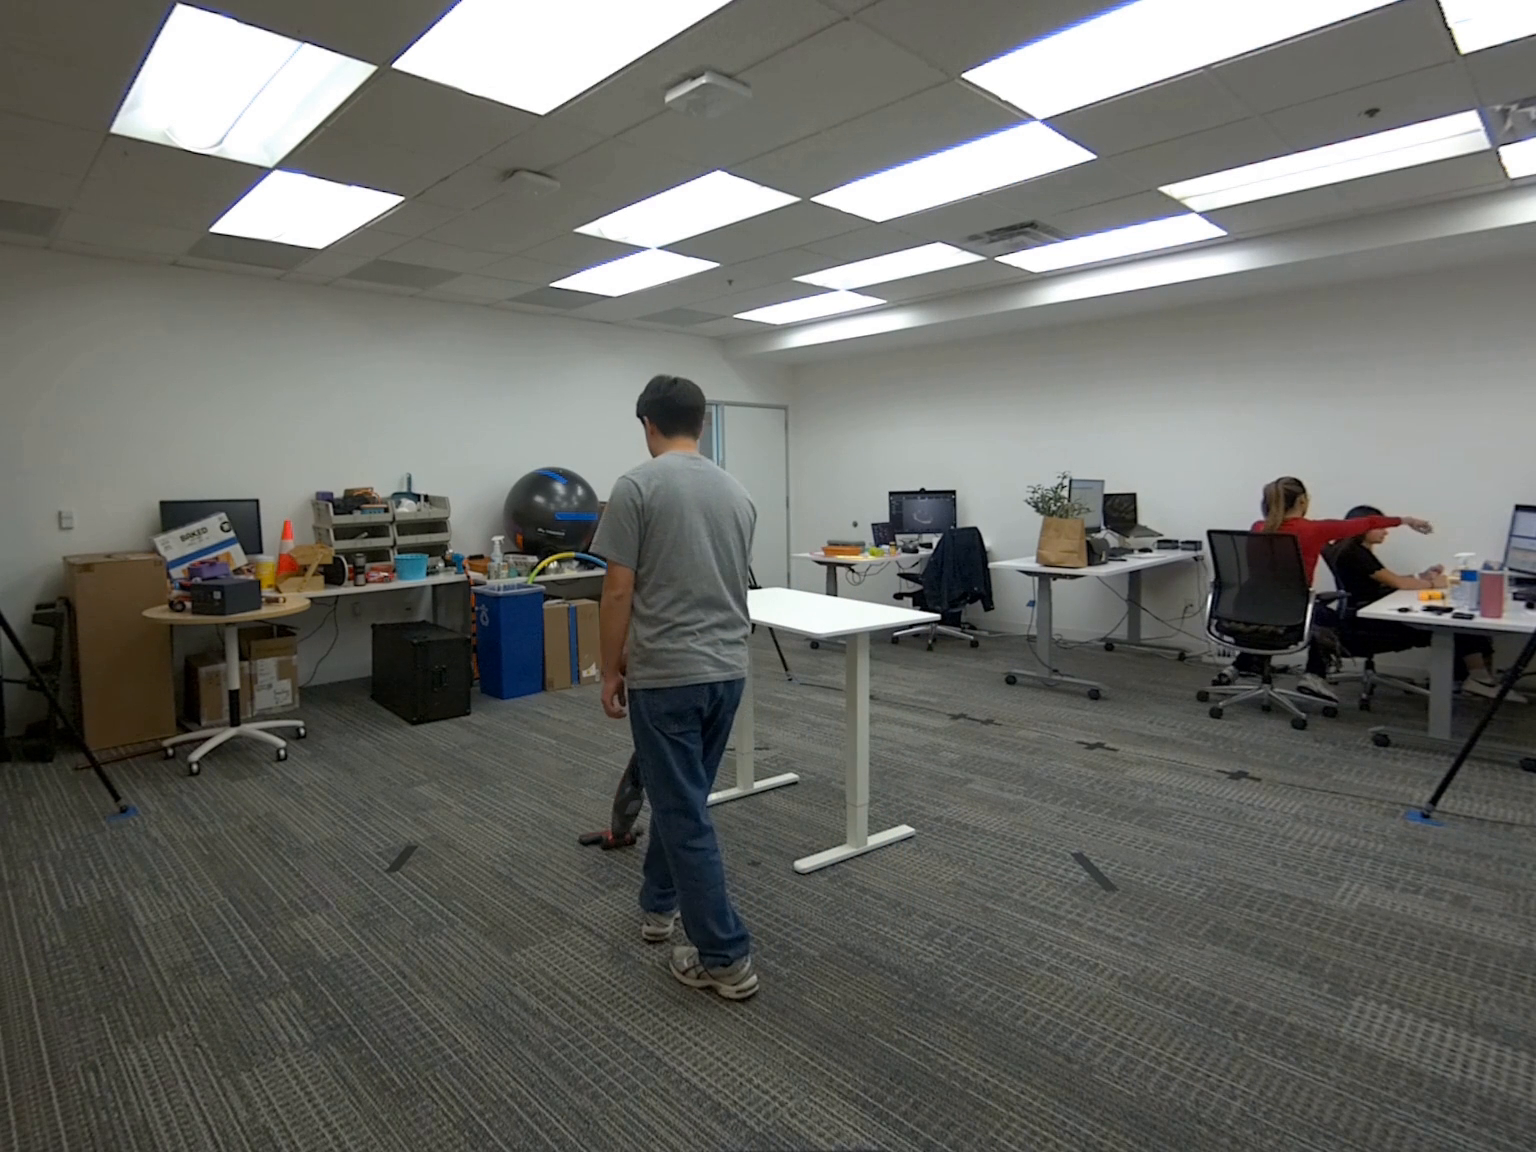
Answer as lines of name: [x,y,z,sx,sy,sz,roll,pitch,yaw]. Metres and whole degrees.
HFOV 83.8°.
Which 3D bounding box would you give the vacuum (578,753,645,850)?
vacuum: [-0.446,0.667,2.988,0.247,1.033,0.149,-13,52,-33]
